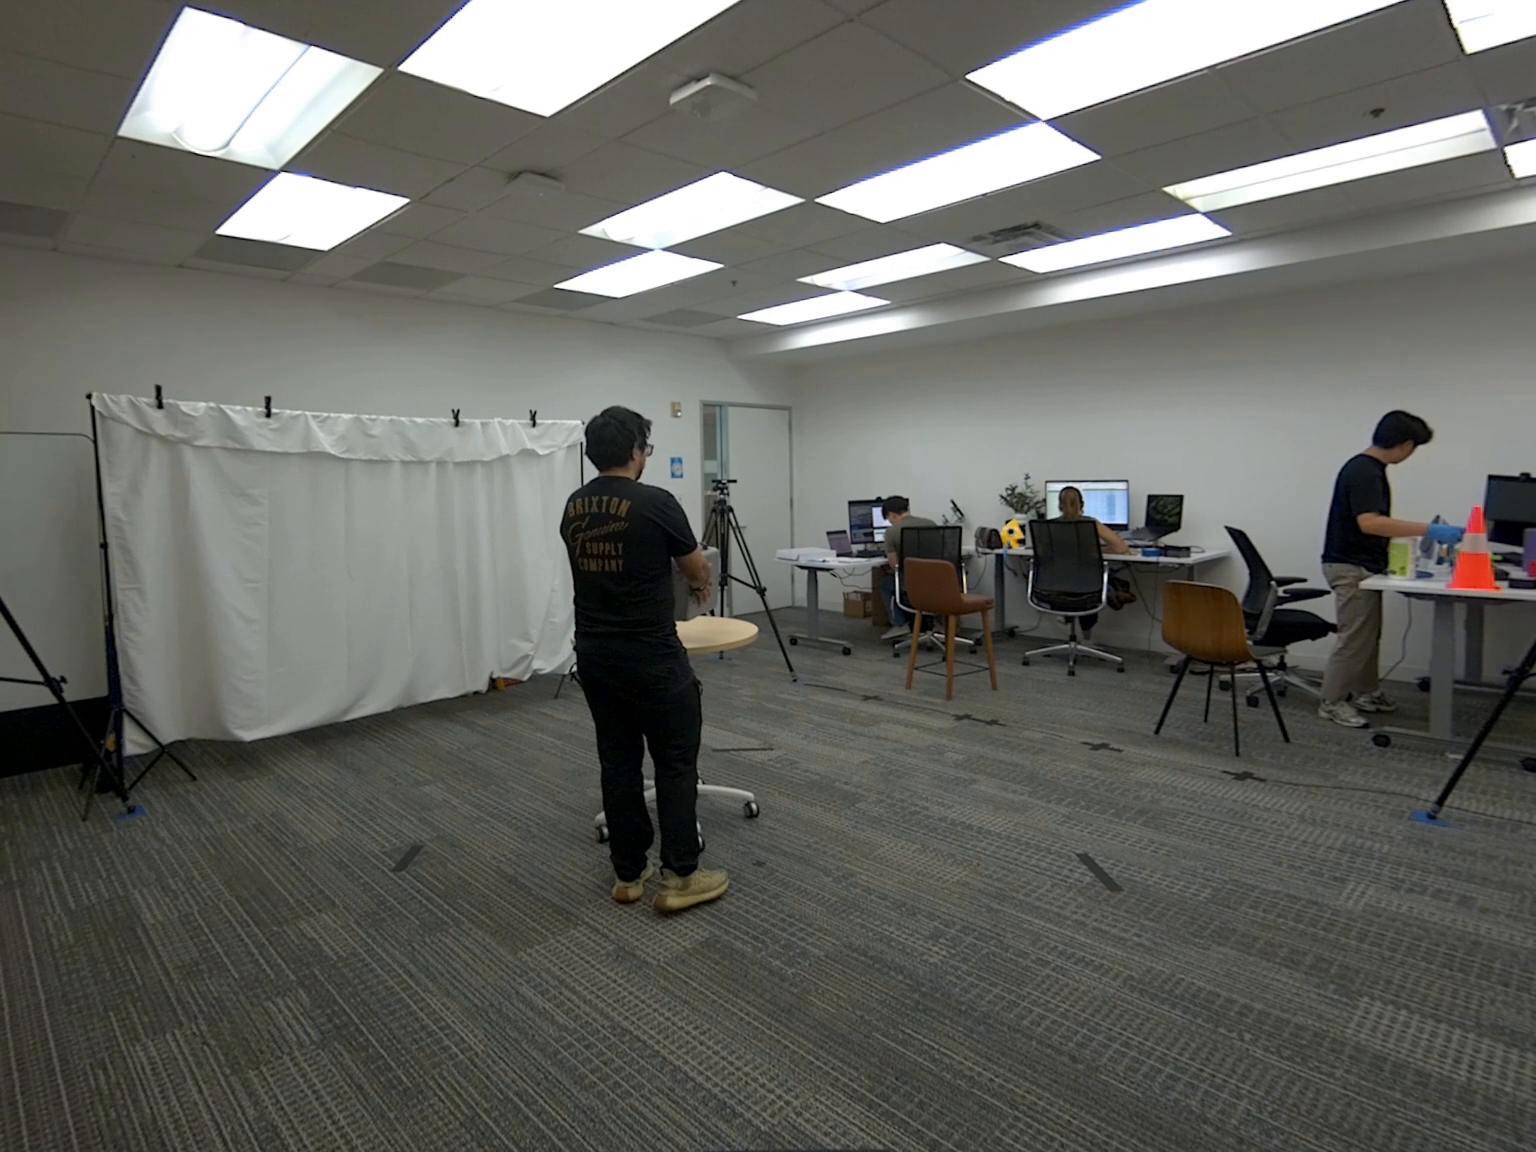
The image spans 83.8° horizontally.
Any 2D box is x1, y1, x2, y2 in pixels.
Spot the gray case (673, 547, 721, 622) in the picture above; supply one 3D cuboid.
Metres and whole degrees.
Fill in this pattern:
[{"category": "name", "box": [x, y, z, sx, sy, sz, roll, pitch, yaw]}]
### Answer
[{"category": "gray case", "box": [-0.278, 0.023, 3.282, 0.107, 0.257, 0.253, 9, 16, 26]}]
